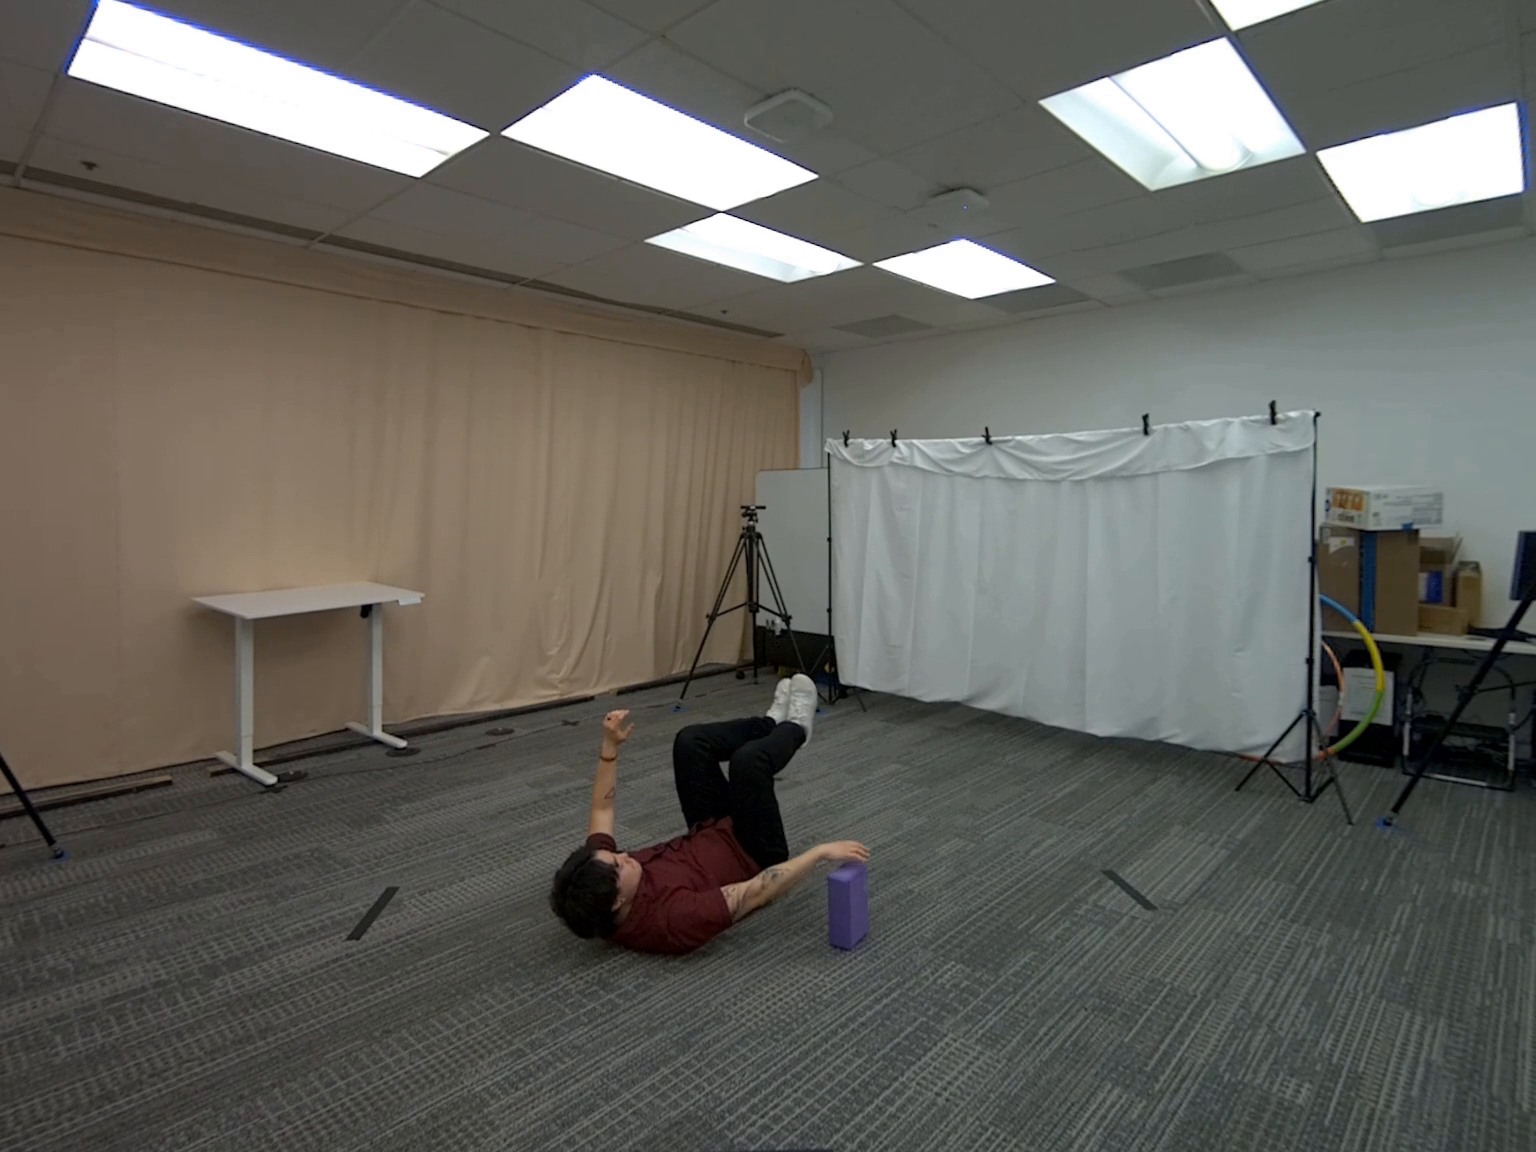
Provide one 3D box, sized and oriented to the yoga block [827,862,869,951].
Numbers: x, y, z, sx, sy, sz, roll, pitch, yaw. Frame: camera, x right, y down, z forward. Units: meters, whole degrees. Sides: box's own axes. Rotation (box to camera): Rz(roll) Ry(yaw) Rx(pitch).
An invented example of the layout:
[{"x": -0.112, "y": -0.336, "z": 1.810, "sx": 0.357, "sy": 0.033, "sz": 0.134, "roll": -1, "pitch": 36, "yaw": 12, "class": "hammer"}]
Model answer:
[{"x": 0.268, "y": 1.052, "z": 2.697, "sx": 0.079, "sy": 0.229, "sz": 0.145, "roll": 0, "pitch": 1, "yaw": 33, "class": "yoga block"}]
